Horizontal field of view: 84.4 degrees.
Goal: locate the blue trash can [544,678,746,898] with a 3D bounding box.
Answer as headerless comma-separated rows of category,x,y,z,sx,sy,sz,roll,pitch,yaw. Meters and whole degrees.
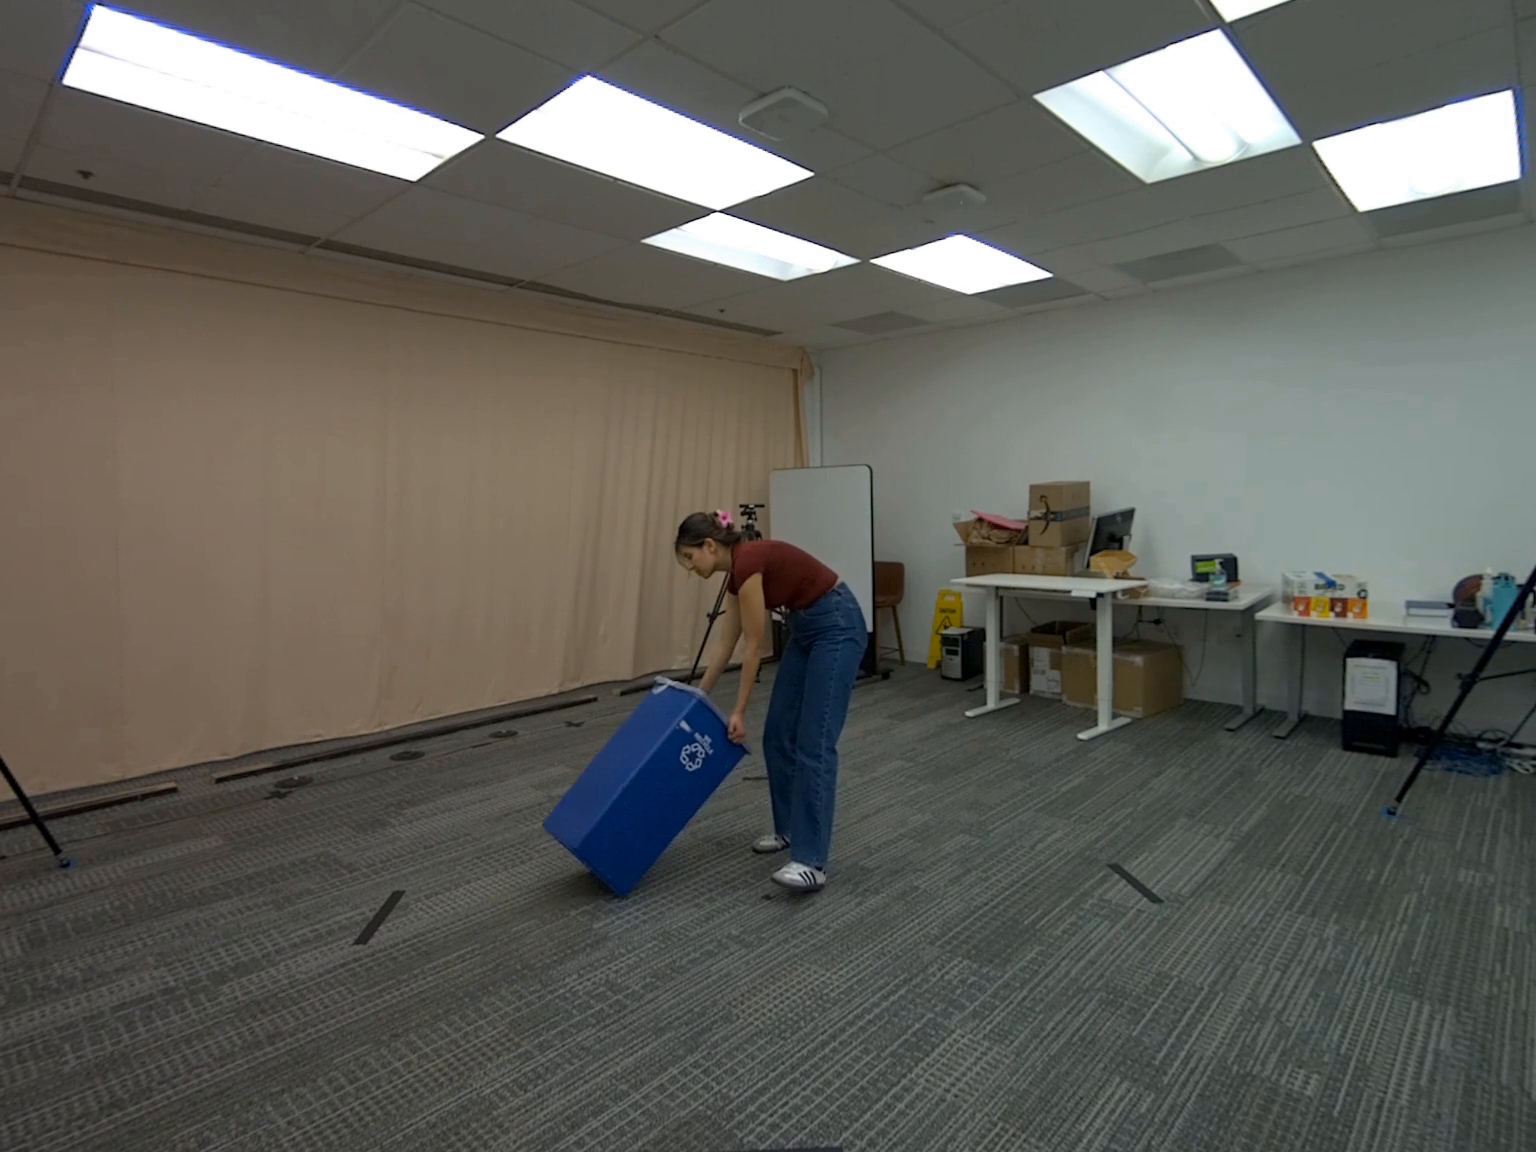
blue trash can,-0.454,0.791,3.197,0.710,0.364,0.390,-50,27,-22
